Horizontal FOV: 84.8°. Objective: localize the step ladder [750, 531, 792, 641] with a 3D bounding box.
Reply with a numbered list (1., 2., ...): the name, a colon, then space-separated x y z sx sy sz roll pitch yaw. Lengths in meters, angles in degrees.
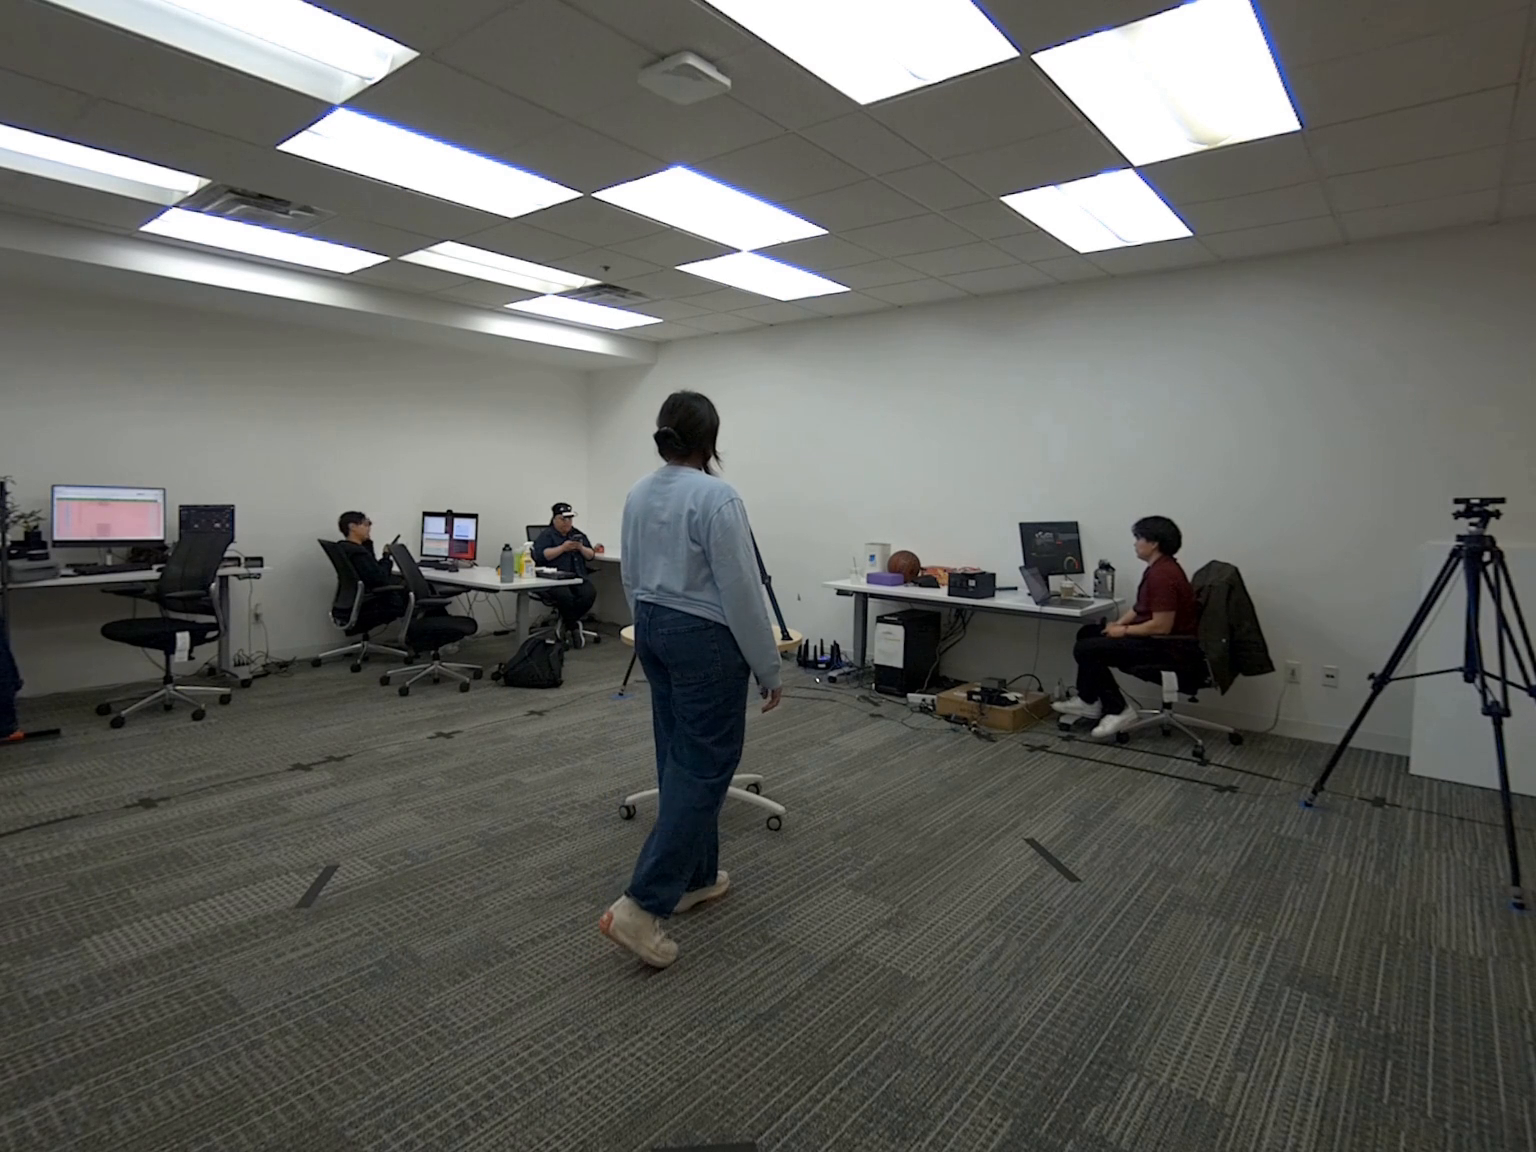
1. step ladder: -0.125 -0.065 3.611 0.344 0.604 0.438 1 4 -14
